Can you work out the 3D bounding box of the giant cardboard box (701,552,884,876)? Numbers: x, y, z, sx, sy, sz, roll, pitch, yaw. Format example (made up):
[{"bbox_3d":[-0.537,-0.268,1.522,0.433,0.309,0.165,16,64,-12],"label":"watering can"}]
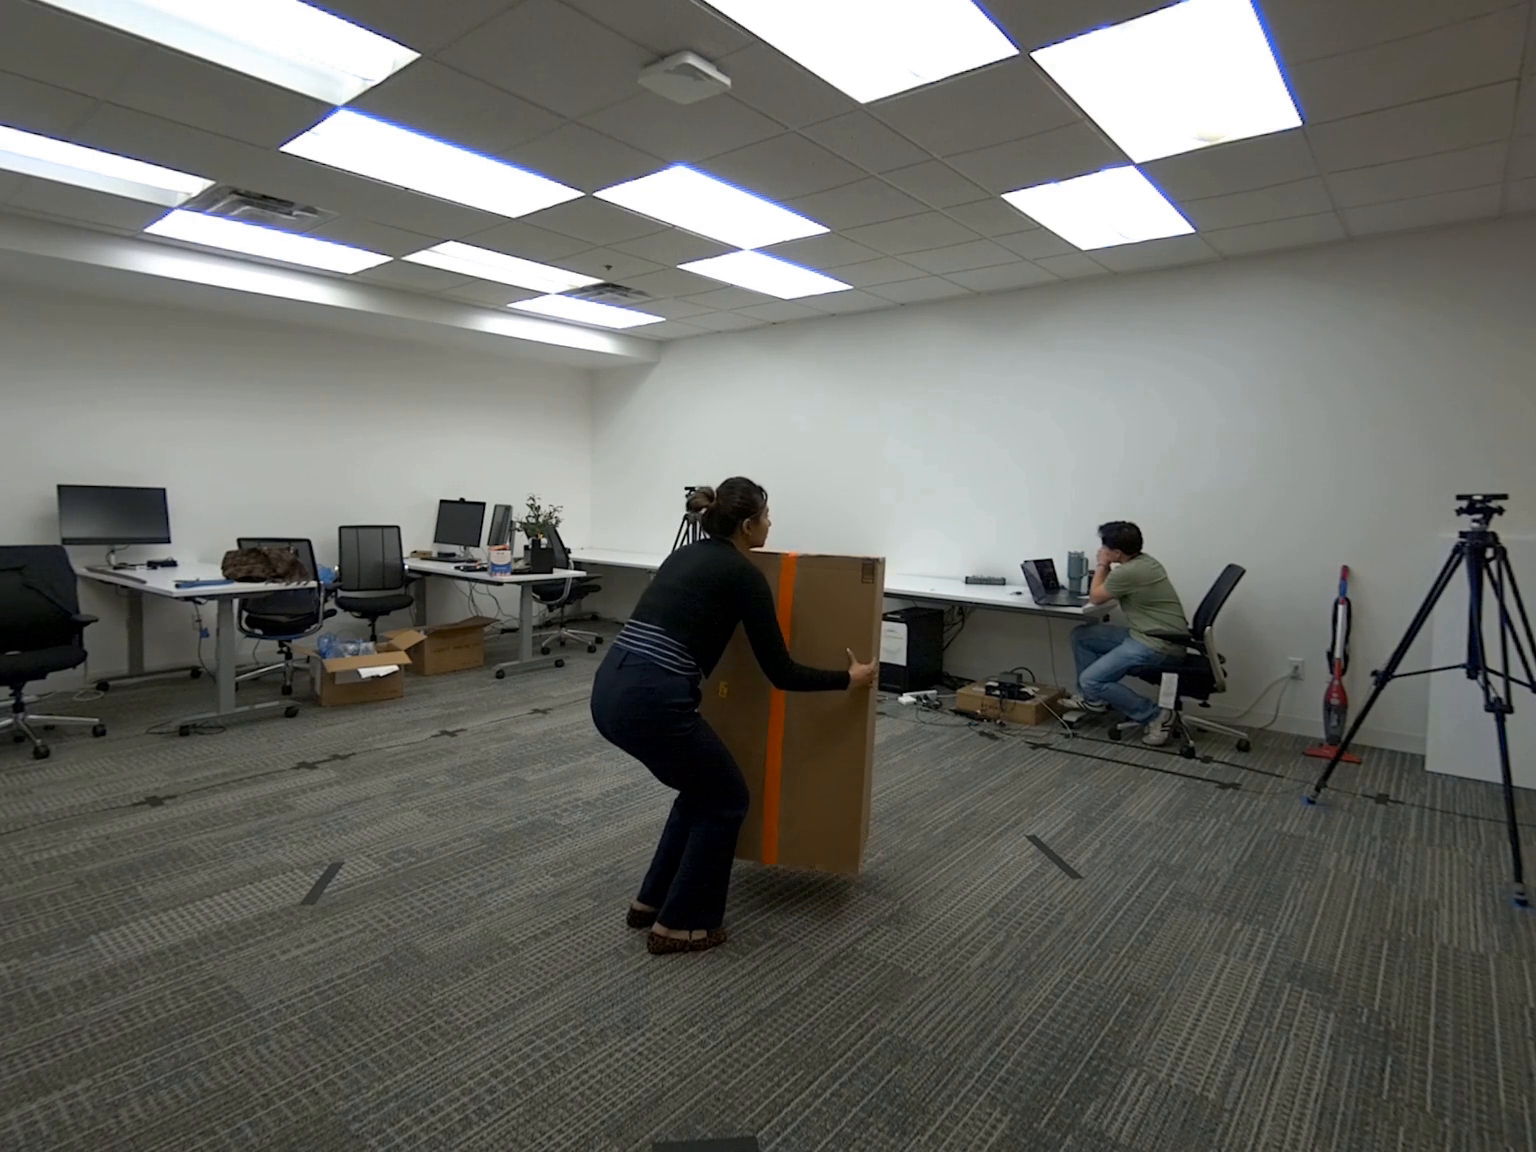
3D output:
[{"bbox_3d":[0.076,0.424,2.996,0.587,1.026,0.419,3,-1,14],"label":"giant cardboard box"}]
